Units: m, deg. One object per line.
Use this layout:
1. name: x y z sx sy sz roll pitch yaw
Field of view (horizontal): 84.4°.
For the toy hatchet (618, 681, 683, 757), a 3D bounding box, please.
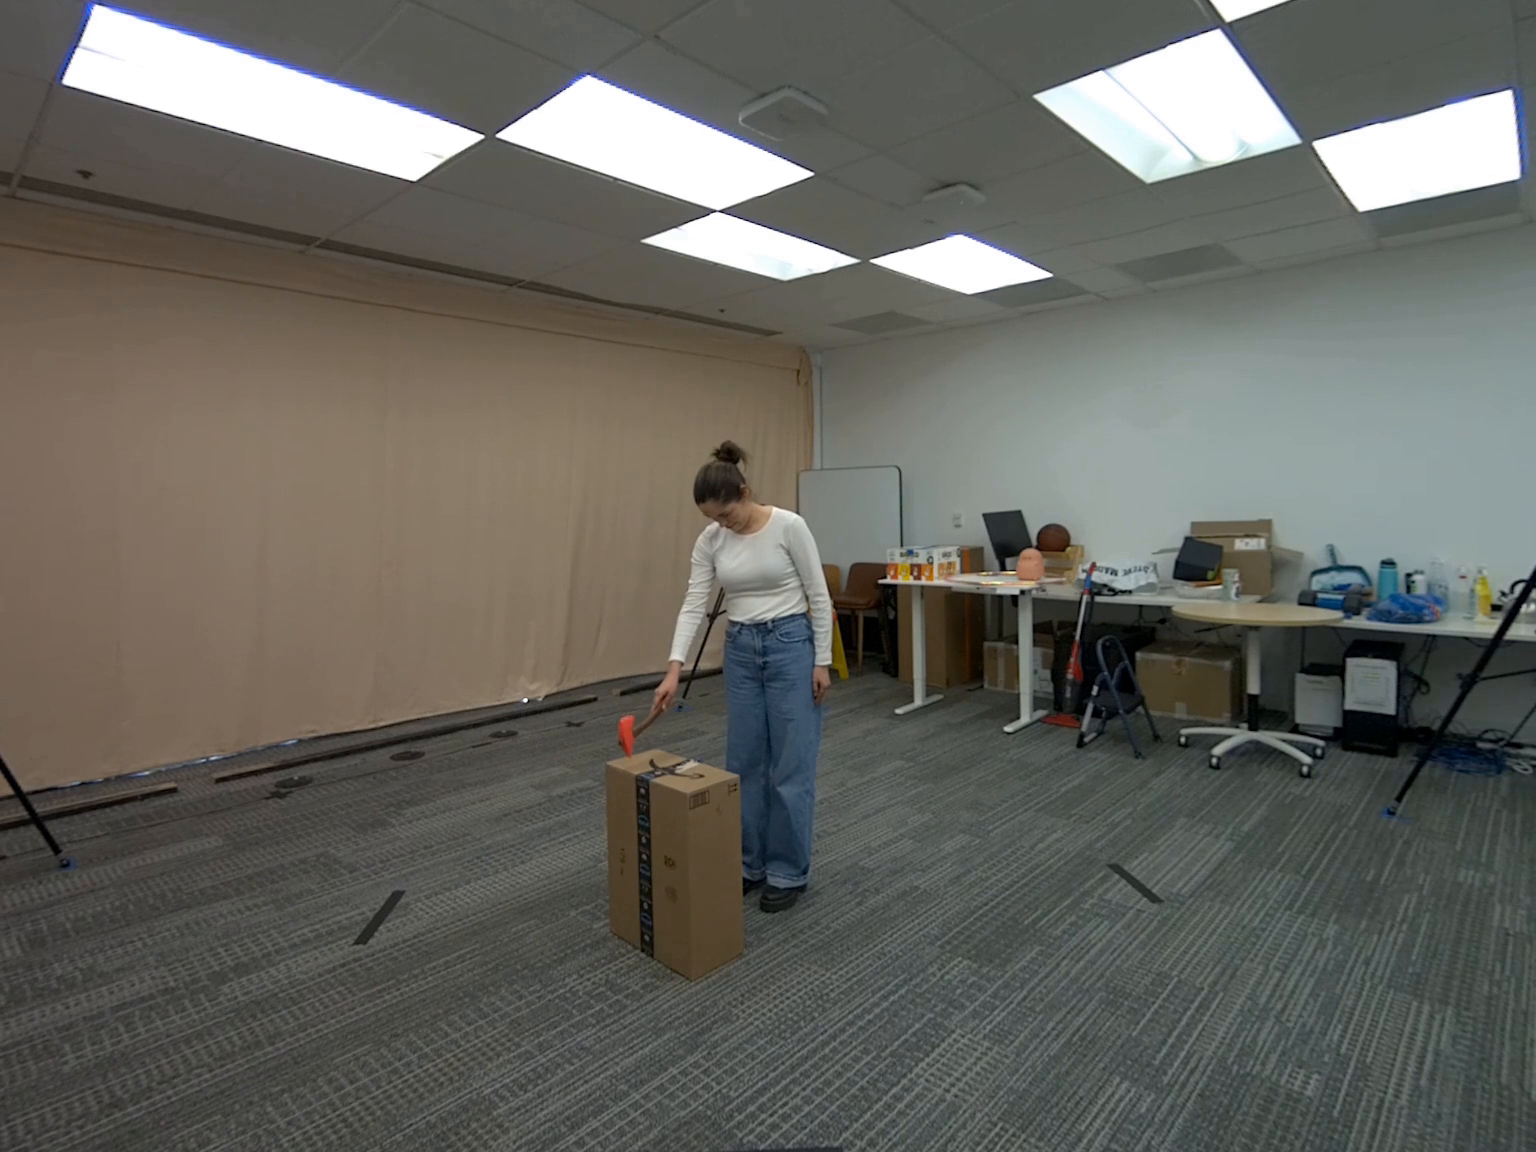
1. toy hatchet: -0.404 0.455 2.746 0.030 0.128 0.269 -2 36 32
